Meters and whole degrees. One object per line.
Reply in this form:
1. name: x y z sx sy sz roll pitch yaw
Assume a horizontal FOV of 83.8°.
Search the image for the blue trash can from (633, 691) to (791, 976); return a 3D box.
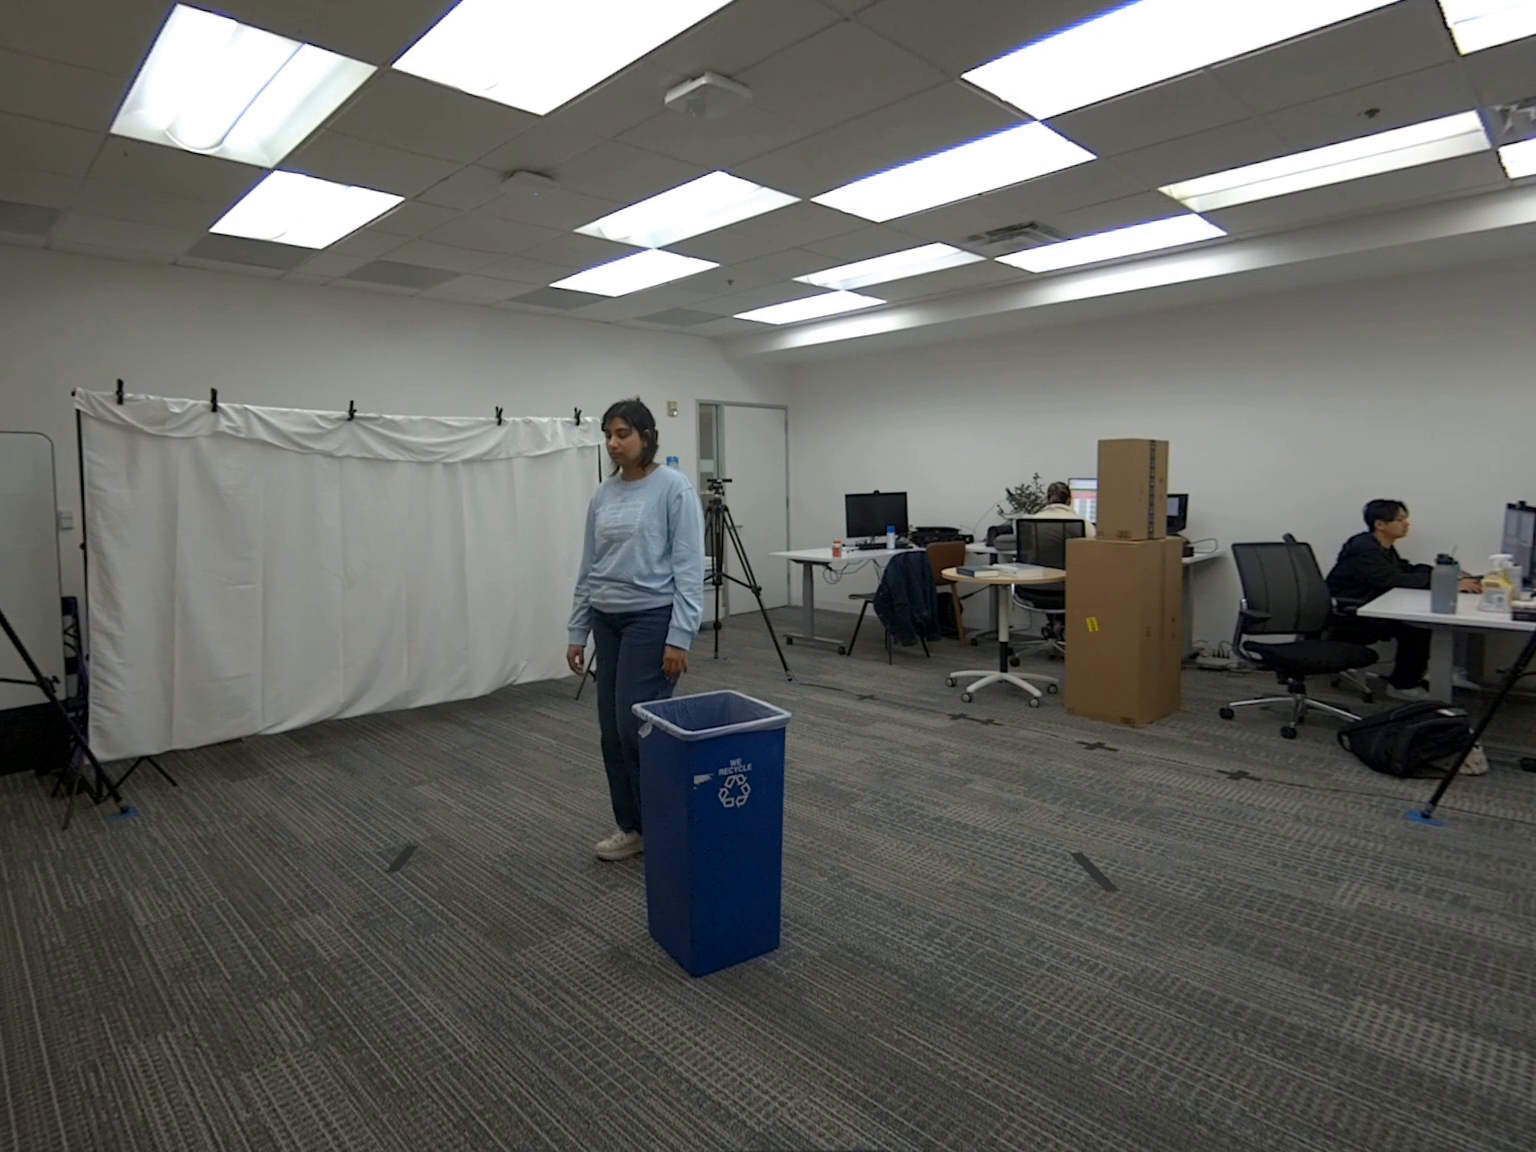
1. blue trash can: -0.161 0.752 2.580 0.365 0.711 0.389 -4 6 -33
